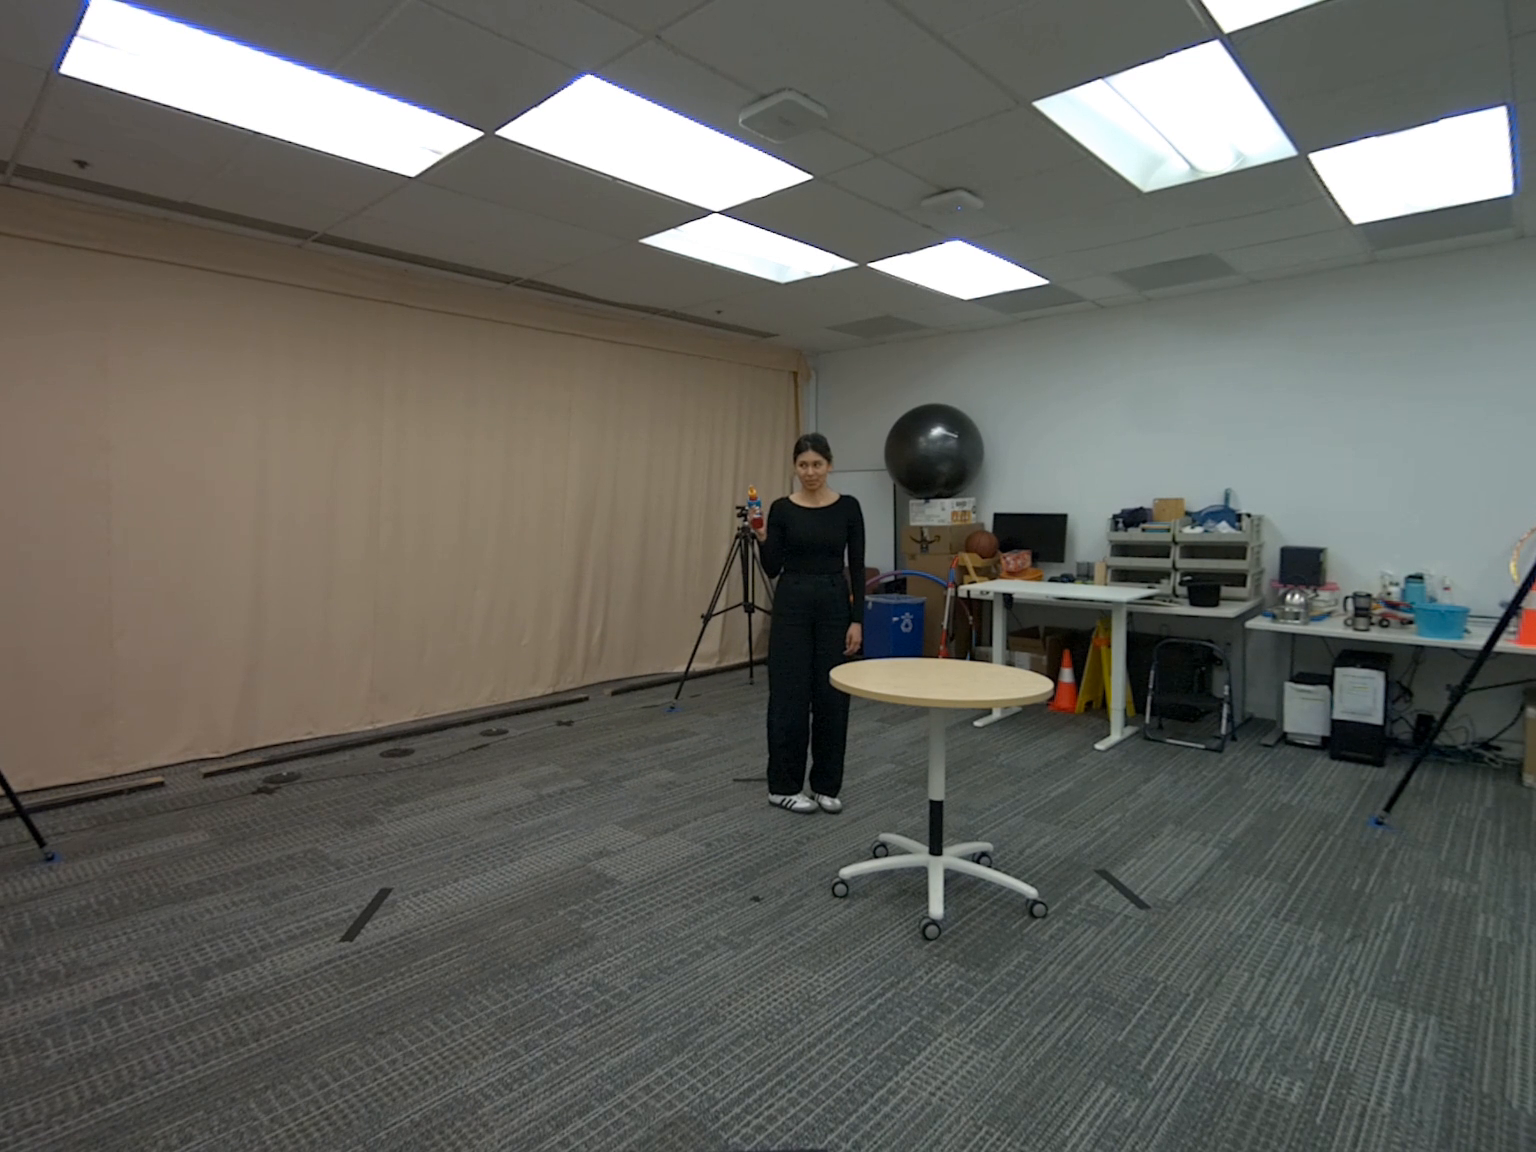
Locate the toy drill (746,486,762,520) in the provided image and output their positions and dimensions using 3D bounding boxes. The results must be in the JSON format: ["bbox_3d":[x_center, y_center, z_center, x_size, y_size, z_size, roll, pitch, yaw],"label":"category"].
[{"bbox_3d":[-0.056,-0.308,3.695,0.061,0.166,0.149,-6,44,-2],"label":"toy drill"}]
